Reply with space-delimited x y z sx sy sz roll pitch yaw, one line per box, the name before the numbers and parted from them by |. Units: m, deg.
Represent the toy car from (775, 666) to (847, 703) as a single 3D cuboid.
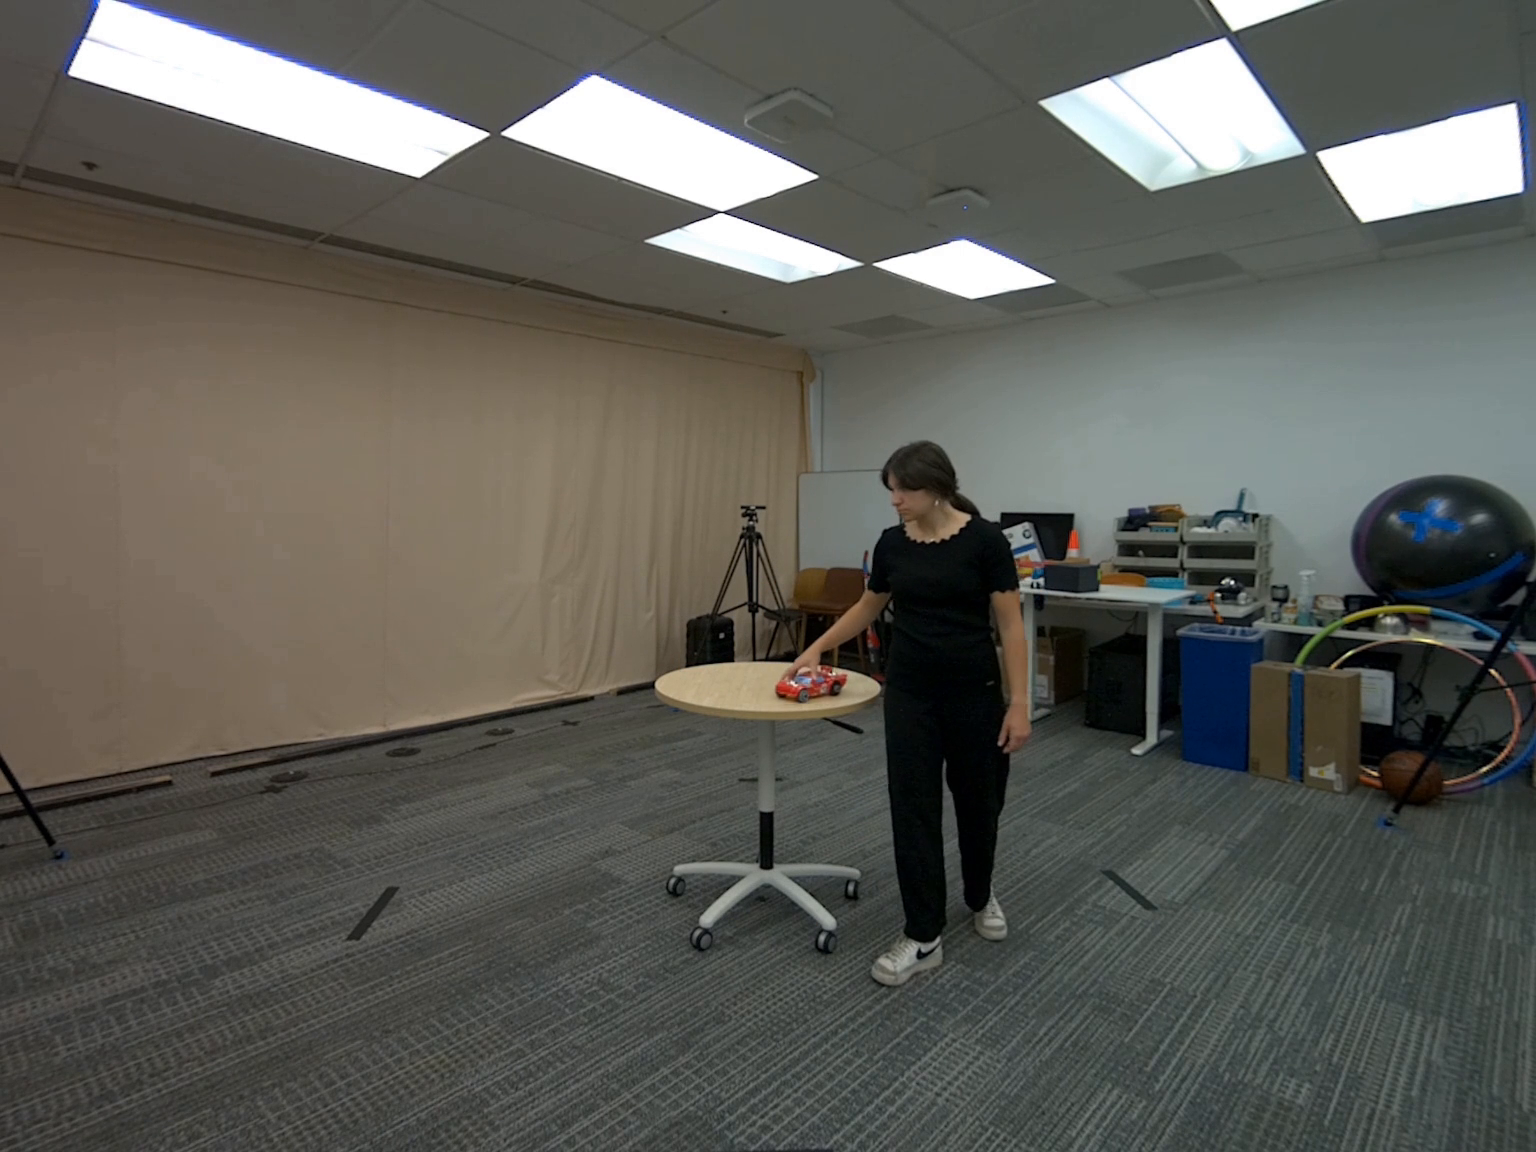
toy car | 0.148 0.354 2.706 0.248 0.082 0.134 -18 15 -38
